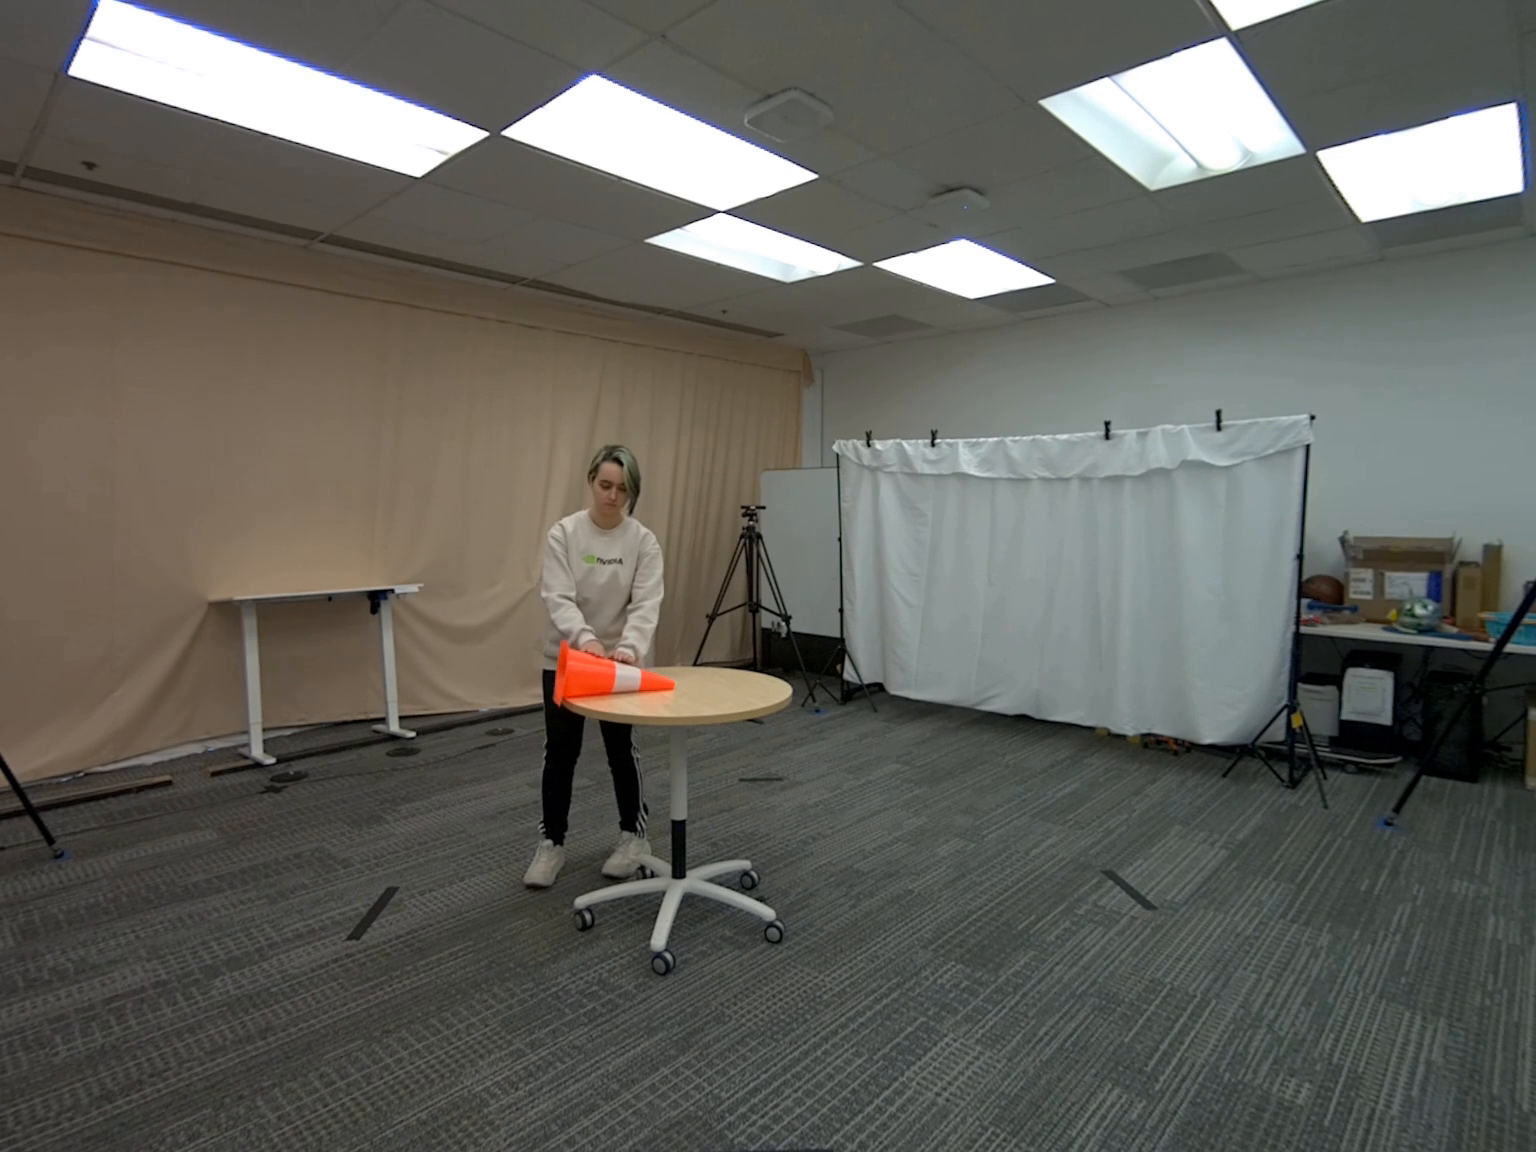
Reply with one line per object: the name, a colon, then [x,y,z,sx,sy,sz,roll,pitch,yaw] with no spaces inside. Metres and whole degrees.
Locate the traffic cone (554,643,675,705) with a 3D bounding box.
traffic cone: [-0.491,0.338,2.743,0.375,0.204,0.208,10,-8,-19]
